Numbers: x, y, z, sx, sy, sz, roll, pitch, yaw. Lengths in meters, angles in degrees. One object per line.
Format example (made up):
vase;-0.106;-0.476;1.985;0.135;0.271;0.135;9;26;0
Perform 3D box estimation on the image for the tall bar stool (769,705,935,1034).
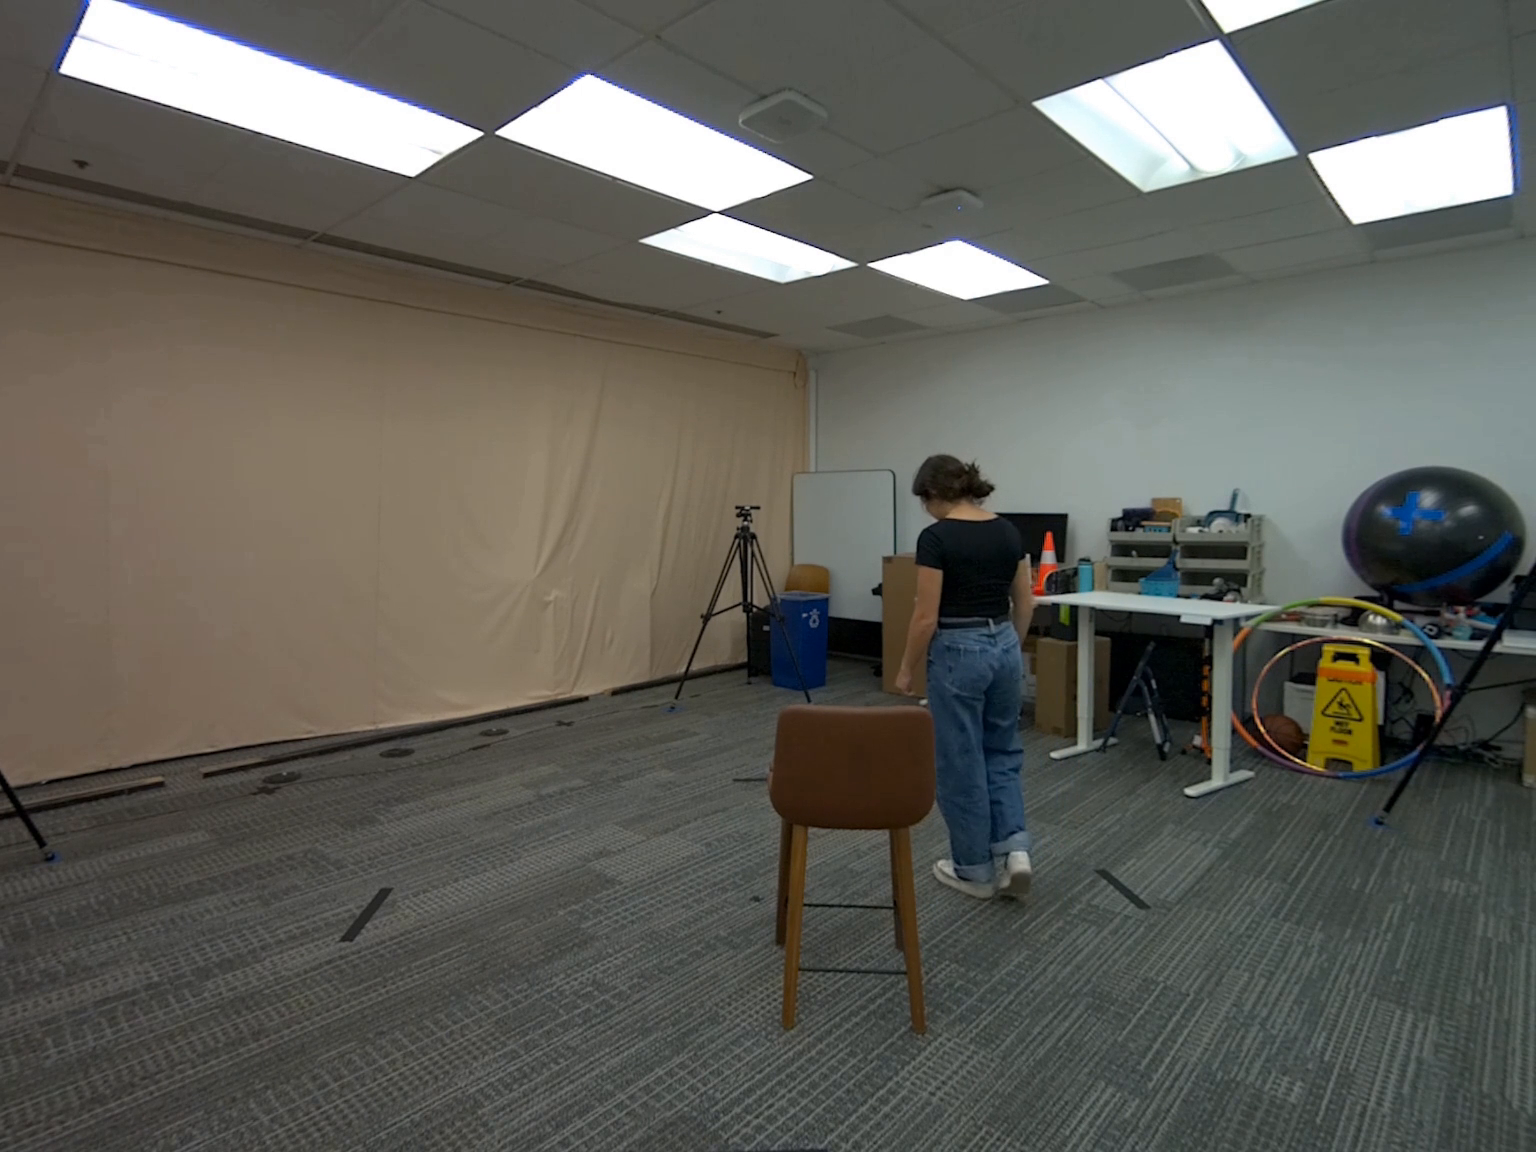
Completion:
tall bar stool;0.232;0.754;2.422;0.458;0.887;0.467;0;5;2
